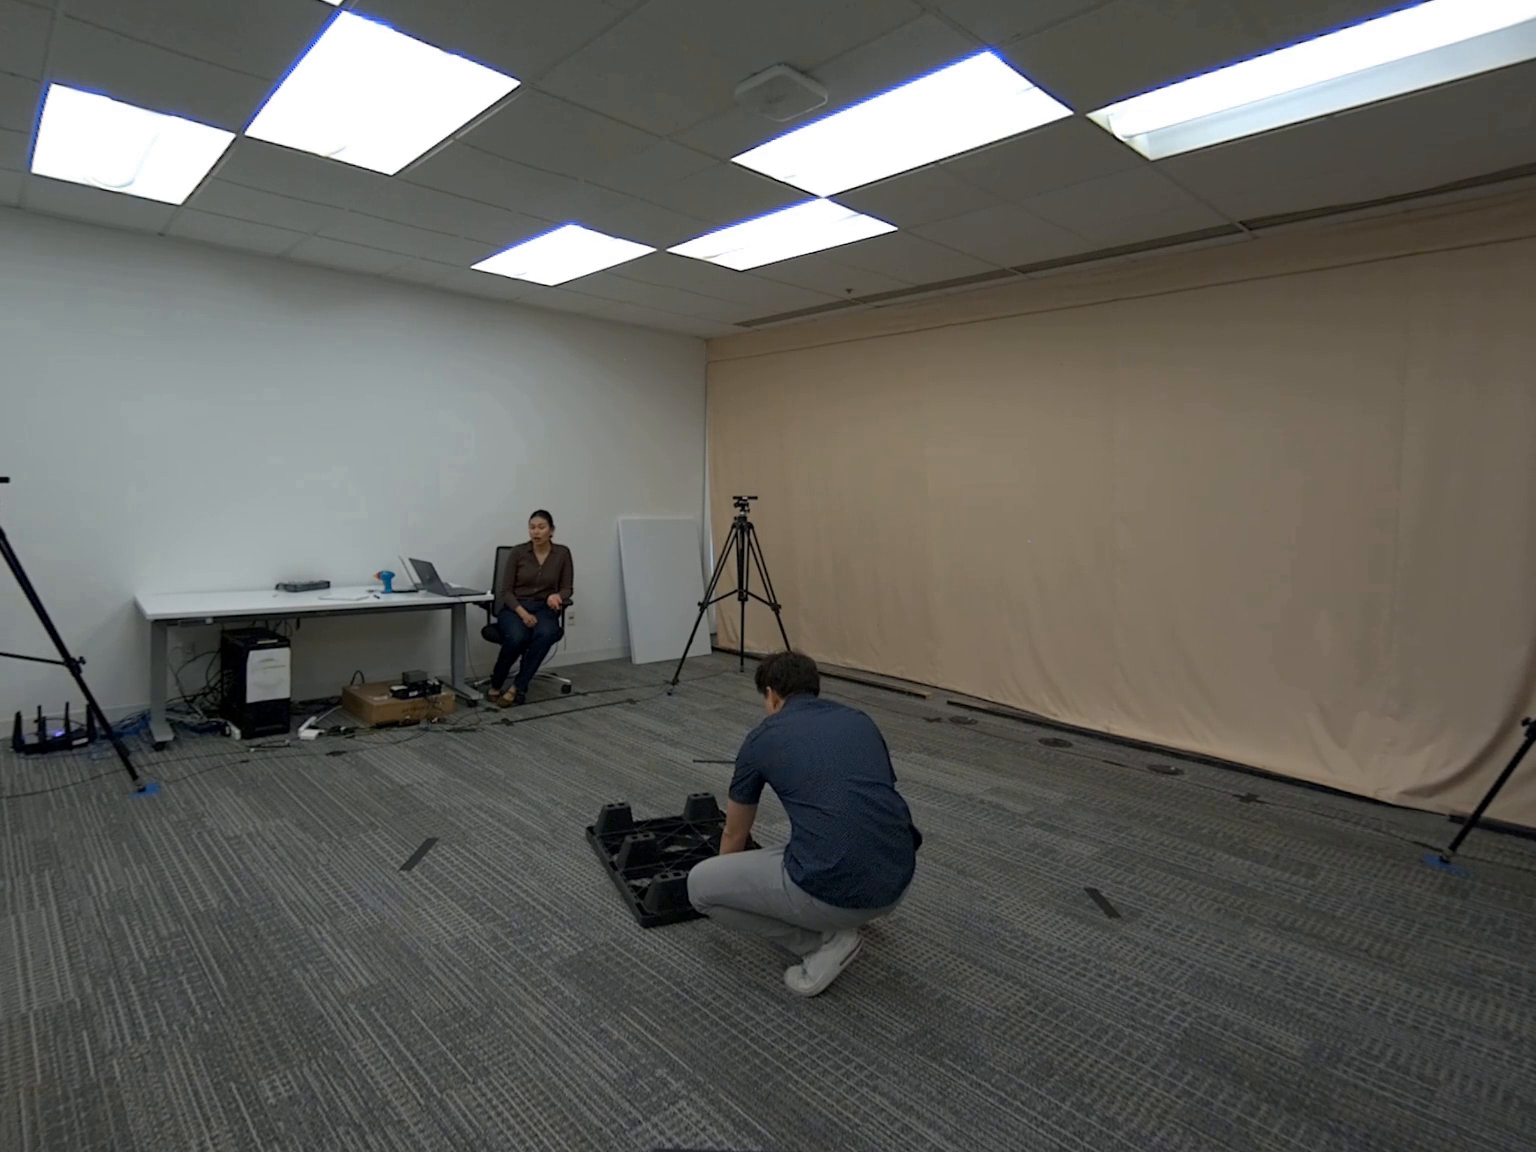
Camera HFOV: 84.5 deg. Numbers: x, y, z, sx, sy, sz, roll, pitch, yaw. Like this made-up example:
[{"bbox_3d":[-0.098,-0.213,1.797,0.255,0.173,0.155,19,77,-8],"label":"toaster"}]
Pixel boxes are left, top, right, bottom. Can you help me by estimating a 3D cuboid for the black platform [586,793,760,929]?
[{"bbox_3d":[-0.303,1.026,3.173,0.594,0.143,0.822,-1,6,-25],"label":"black platform"}]
